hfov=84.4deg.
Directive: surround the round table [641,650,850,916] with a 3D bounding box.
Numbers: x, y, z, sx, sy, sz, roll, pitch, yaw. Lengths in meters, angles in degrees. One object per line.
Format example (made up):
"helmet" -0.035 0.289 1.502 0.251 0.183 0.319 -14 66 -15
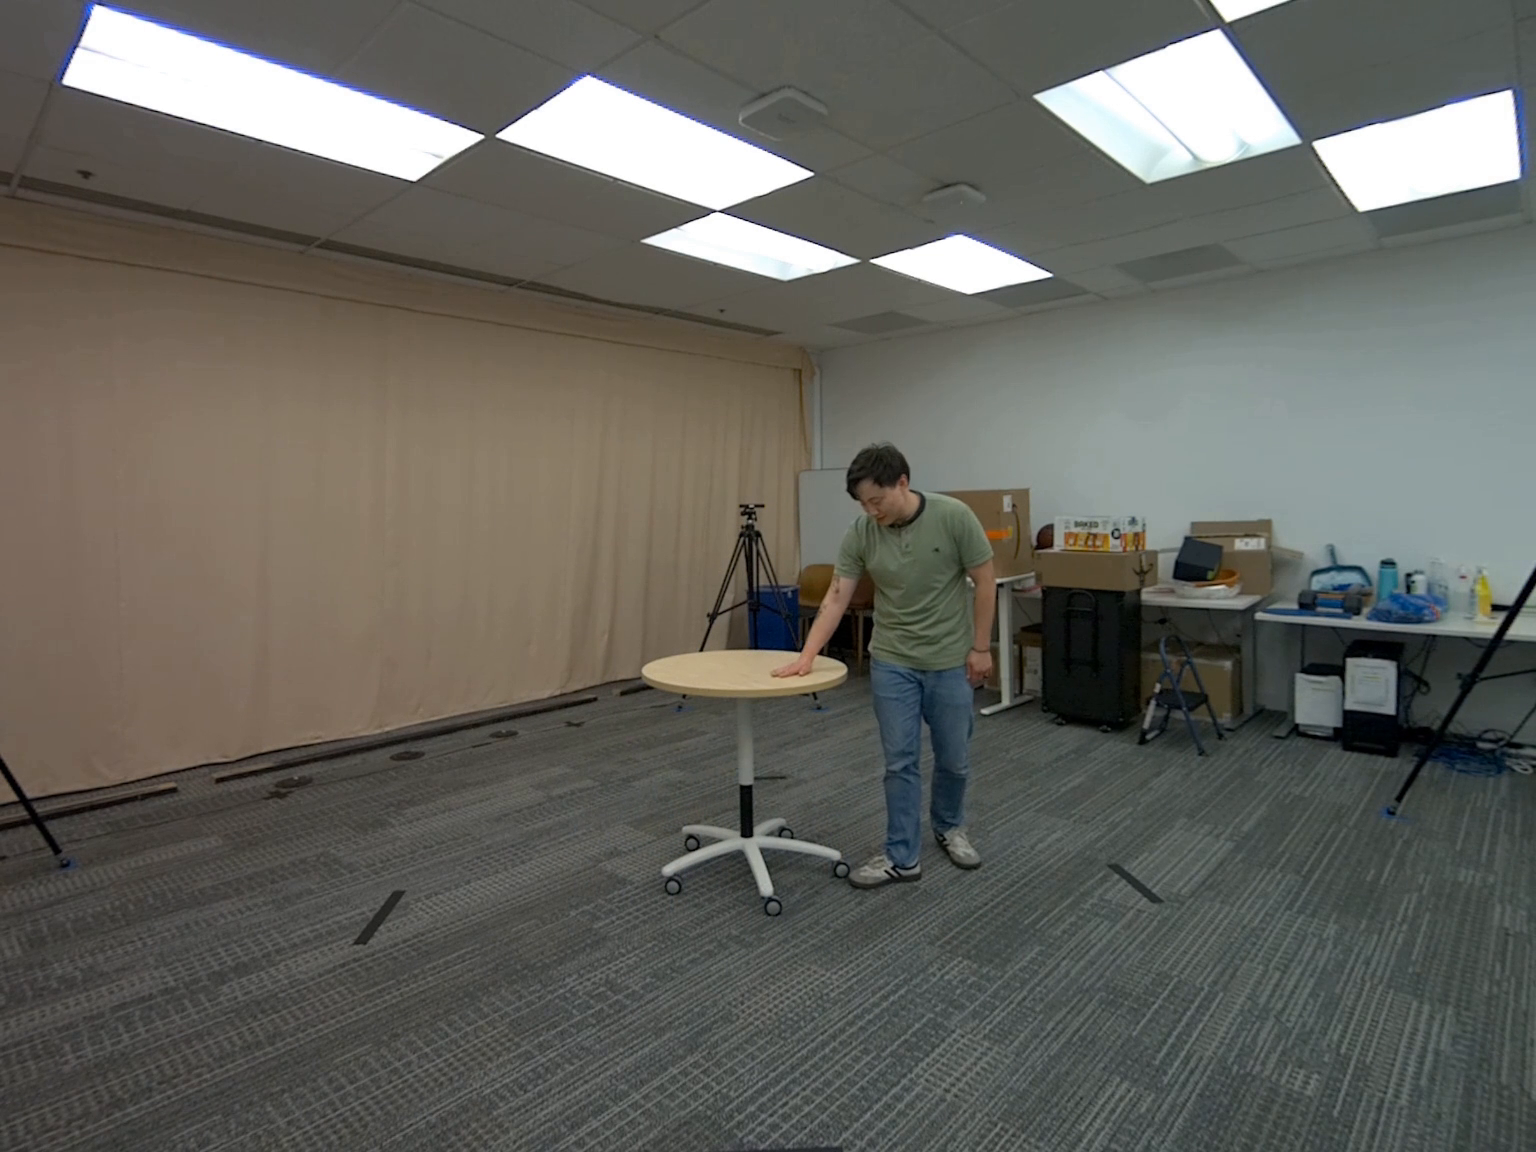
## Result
"round table" -0.081 0.739 3.173 0.763 0.792 0.766 -1 4 -2
